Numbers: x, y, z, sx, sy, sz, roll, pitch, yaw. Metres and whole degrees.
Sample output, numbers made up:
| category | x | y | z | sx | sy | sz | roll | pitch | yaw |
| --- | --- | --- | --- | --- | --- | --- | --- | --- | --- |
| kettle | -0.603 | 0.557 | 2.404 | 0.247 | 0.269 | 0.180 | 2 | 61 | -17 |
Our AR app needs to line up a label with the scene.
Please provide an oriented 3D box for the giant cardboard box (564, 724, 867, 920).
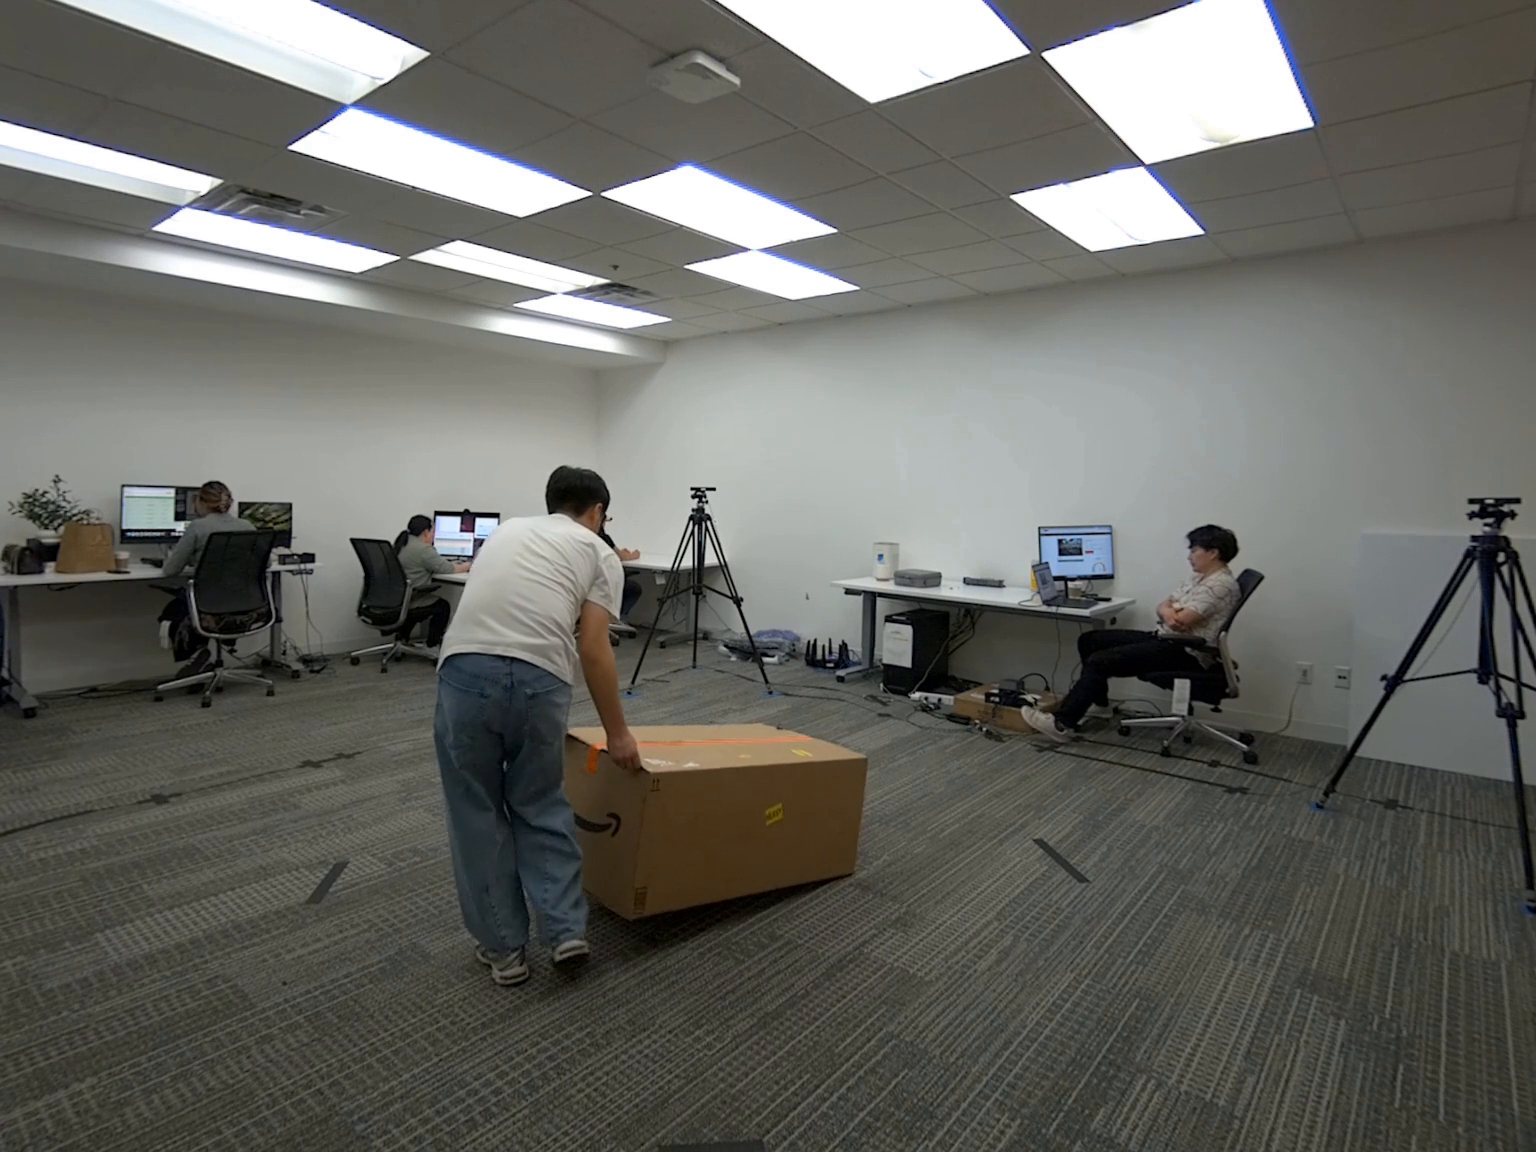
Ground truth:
| category | x | y | z | sx | sy | sz | roll | pitch | yaw |
| --- | --- | --- | --- | --- | --- | --- | --- | --- | --- |
| giant cardboard box | -0.221 | 0.792 | 2.979 | 0.989 | 0.427 | 0.598 | 8 | -1 | -44 |
